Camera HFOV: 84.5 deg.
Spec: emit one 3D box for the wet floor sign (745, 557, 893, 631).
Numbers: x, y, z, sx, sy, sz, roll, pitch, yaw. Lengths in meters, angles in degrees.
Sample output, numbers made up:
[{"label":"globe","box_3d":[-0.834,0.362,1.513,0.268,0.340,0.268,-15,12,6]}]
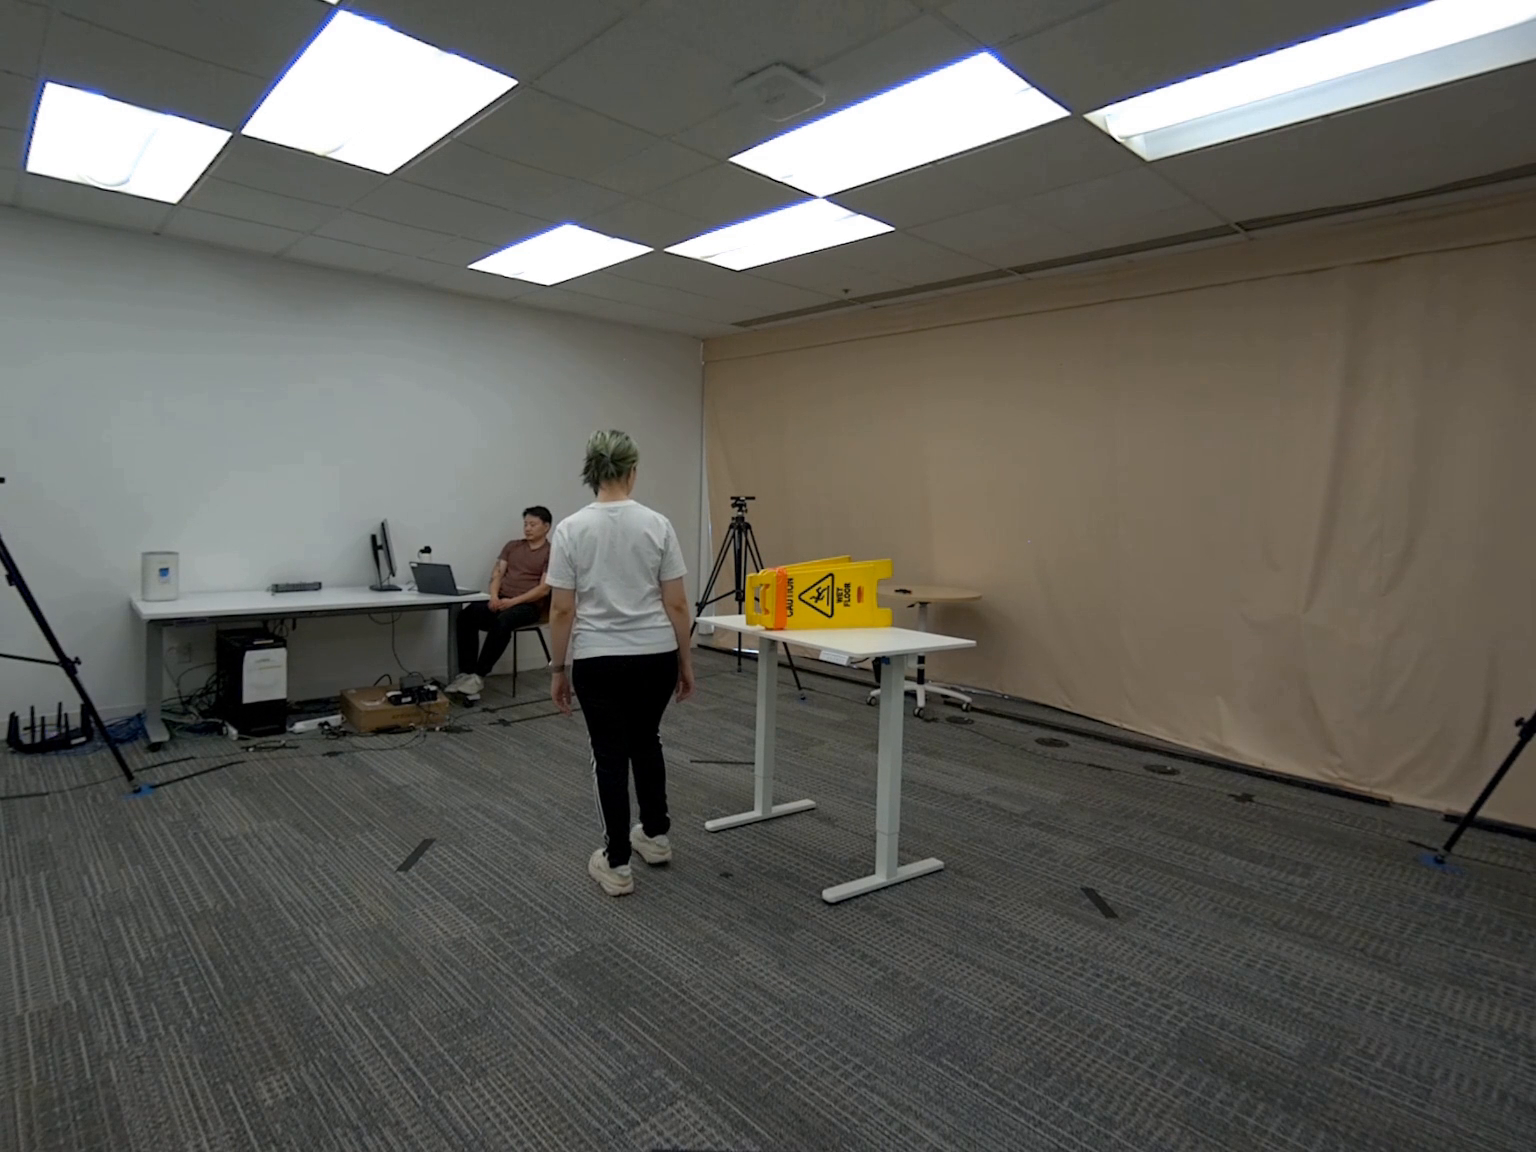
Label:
[{"label":"wet floor sign","box_3d":[0.168,0.080,3.376,0.632,0.281,0.297,-4,6,-36]}]
